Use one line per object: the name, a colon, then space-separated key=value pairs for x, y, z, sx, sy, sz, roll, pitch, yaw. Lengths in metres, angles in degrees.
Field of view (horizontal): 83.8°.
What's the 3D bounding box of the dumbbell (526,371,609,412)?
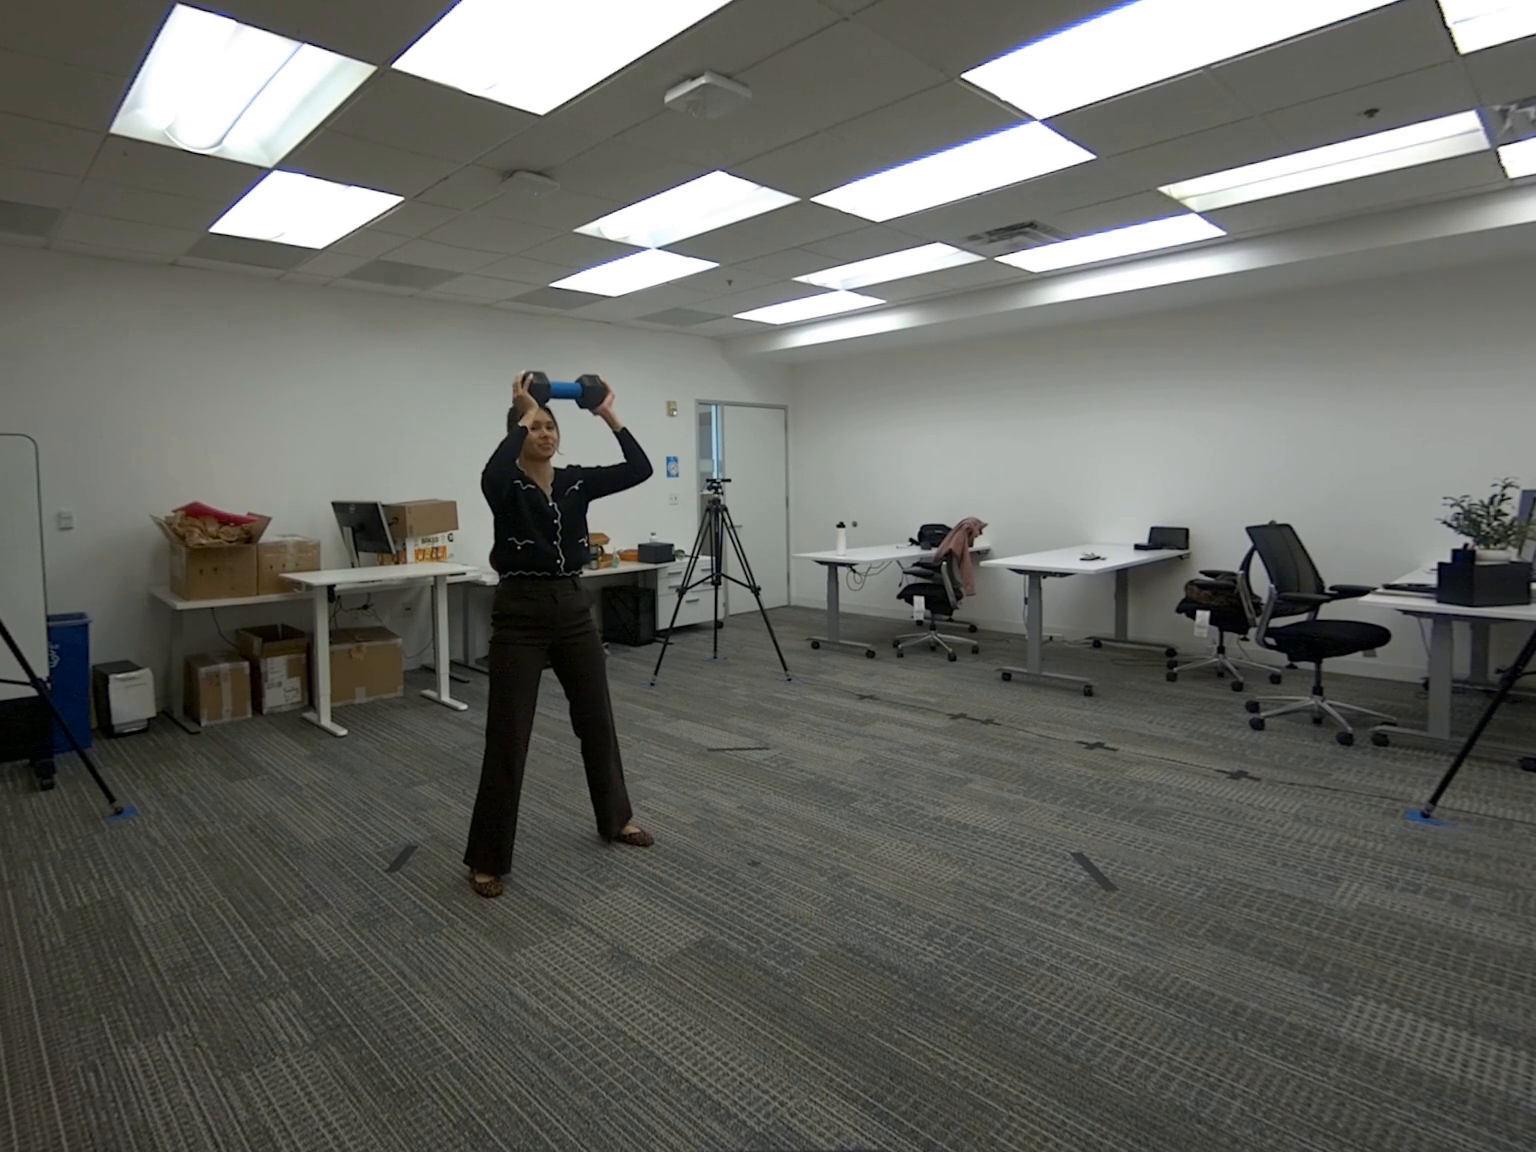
dumbbell: x=-0.713 y=-0.634 z=2.937 sx=0.286 sy=0.127 sz=0.108 roll=-6 pitch=-39 yaw=-38
